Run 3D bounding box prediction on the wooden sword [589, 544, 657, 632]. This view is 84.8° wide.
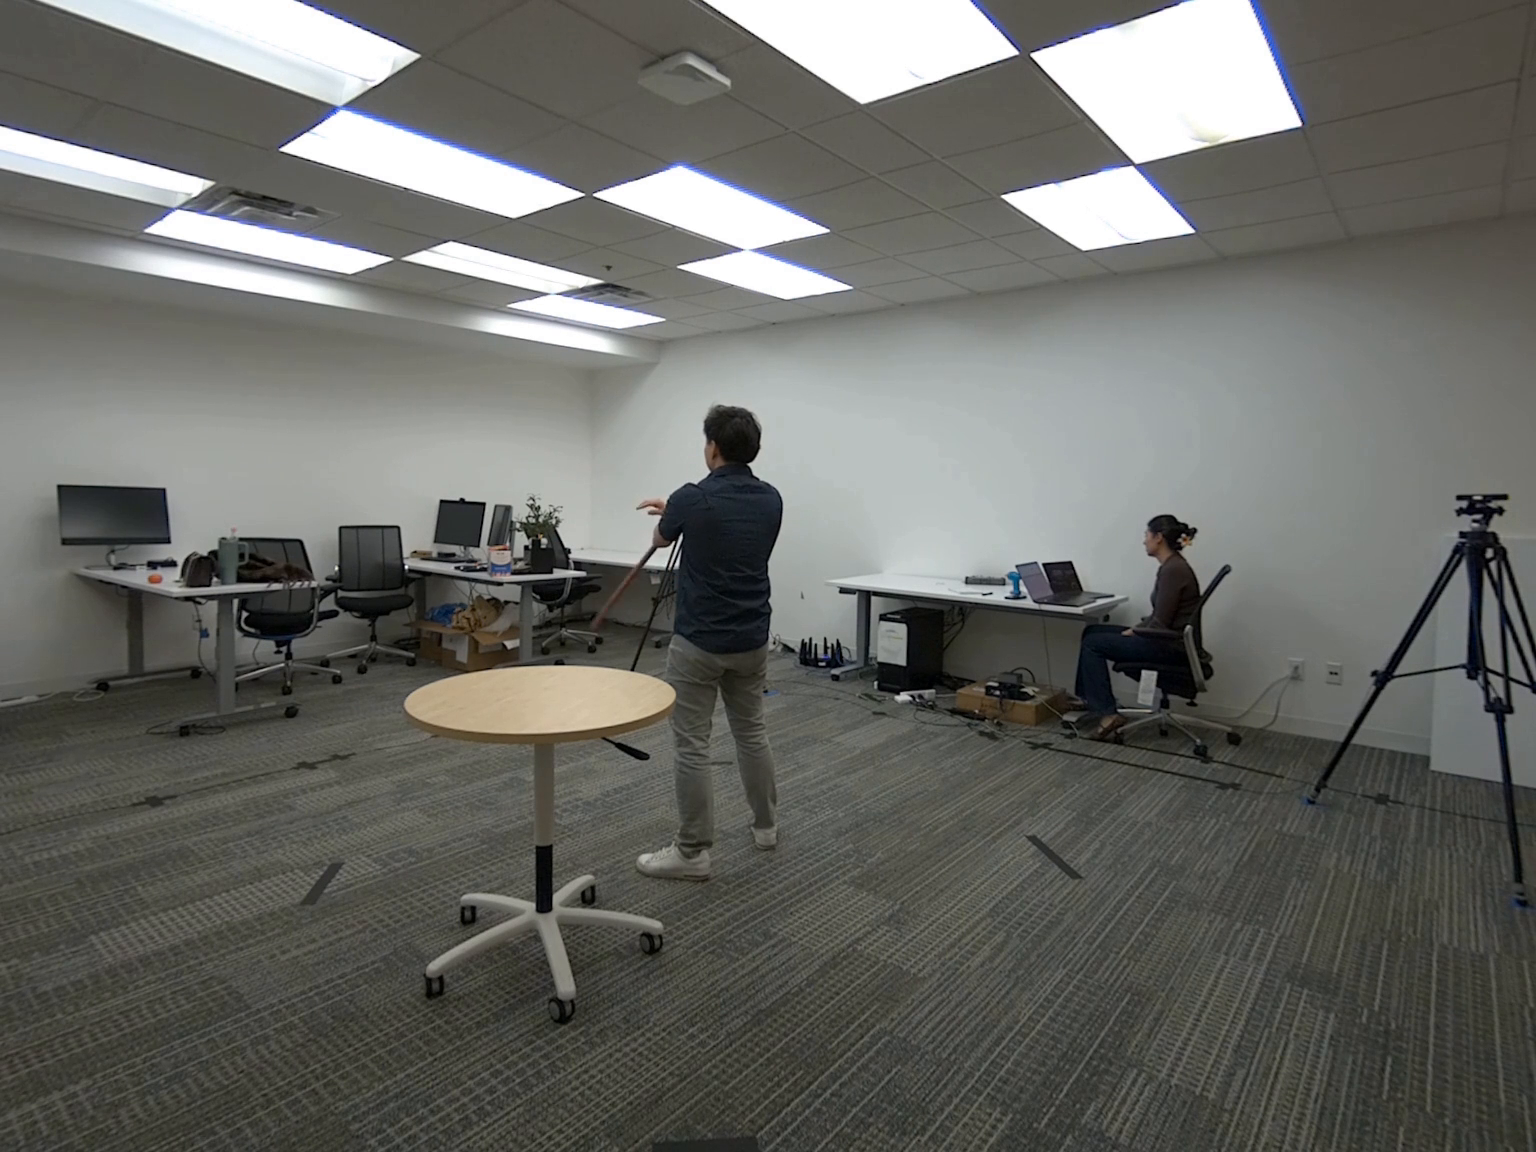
[{"bbox_3d":[-0.426,-0.185,3.513,0.023,1.027,0.053,42,-16,-28],"label":"wooden sword"}]
